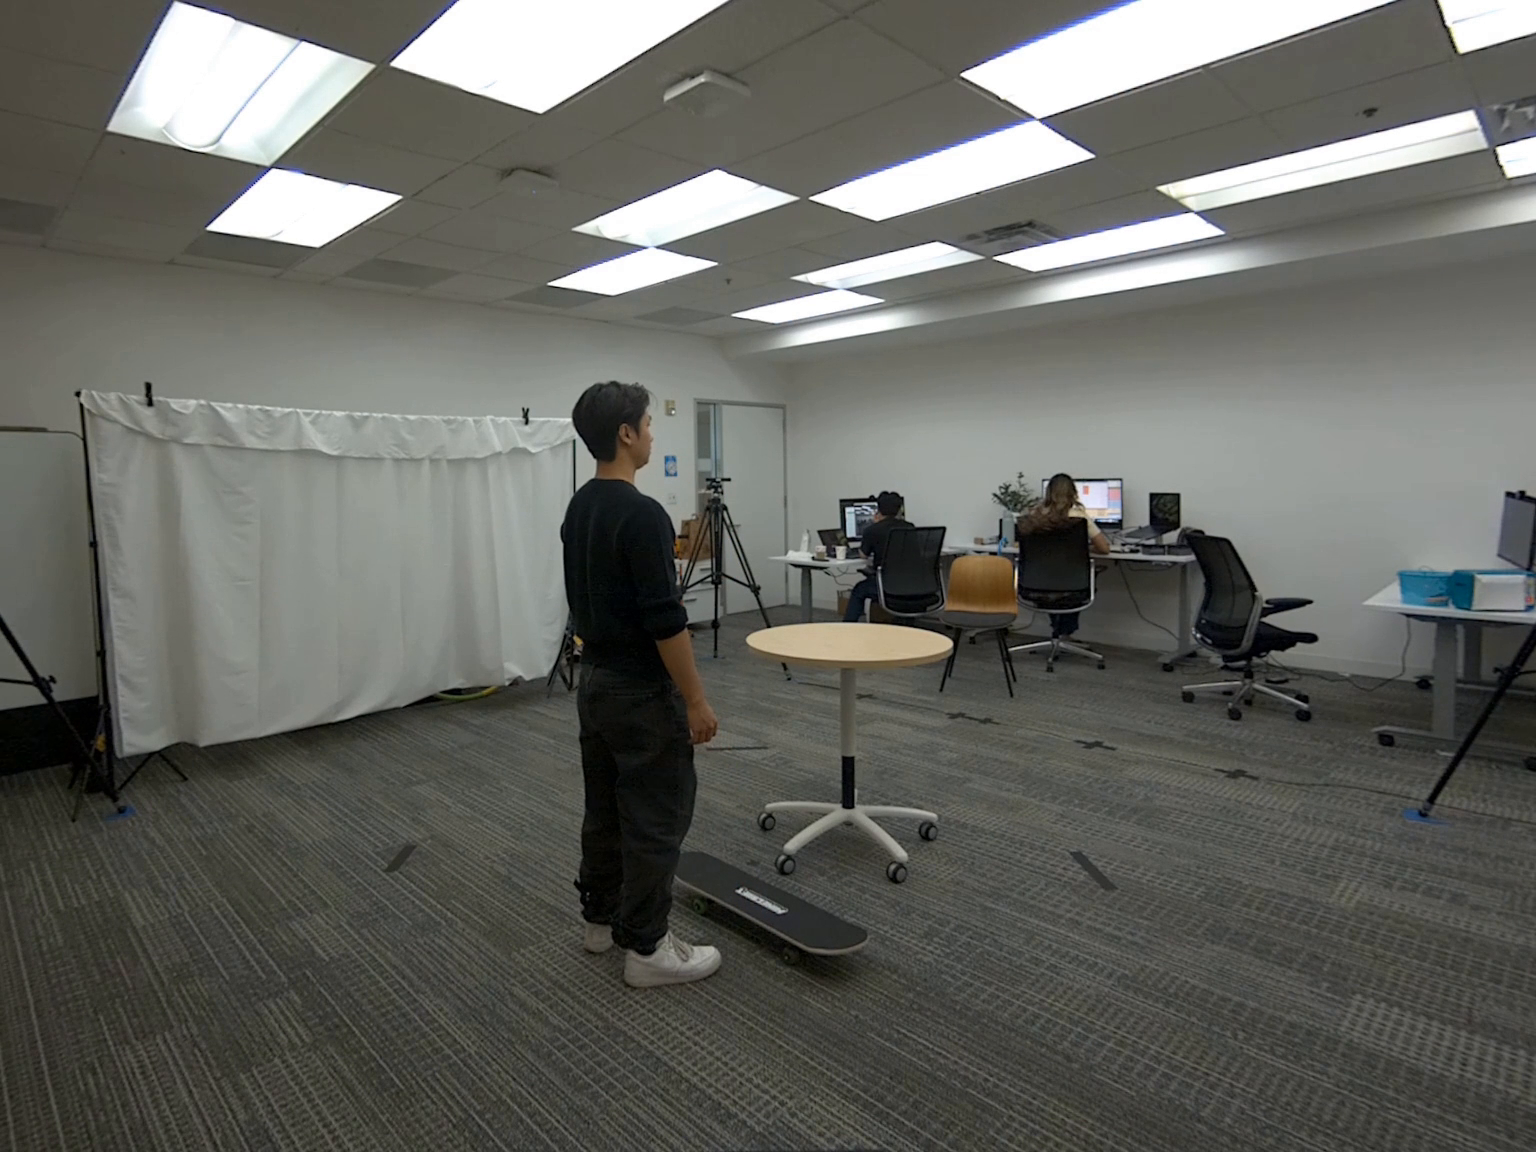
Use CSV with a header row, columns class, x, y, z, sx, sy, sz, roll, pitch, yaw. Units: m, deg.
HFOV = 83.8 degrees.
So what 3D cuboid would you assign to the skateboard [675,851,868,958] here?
class,x,y,z,sx,sy,sz,roll,pitch,yaw
skateboard,-0.014,1.044,2.645,0.188,0.110,0.810,-7,9,-43
